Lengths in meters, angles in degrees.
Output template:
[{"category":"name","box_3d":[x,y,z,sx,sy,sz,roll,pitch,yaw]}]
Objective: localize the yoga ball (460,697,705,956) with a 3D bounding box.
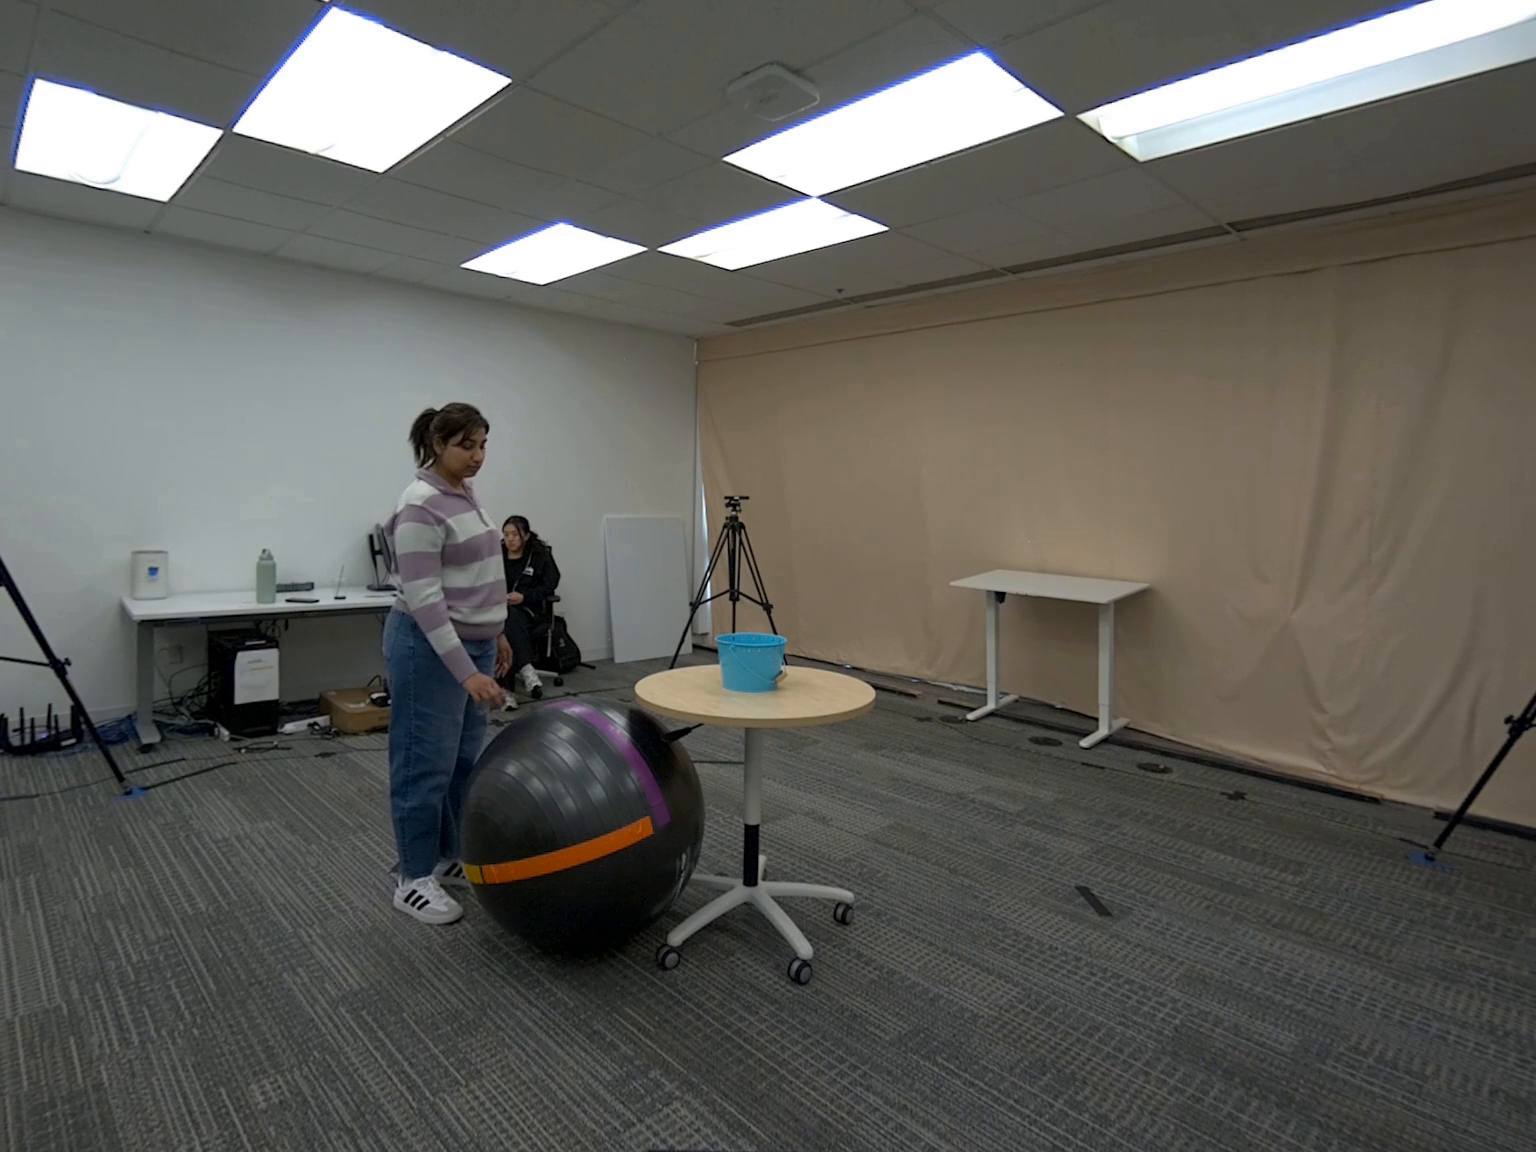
[{"category":"yoga ball","box_3d":[-0.584,0.767,2.635,0.757,0.756,0.761,1,4,-1]}]
